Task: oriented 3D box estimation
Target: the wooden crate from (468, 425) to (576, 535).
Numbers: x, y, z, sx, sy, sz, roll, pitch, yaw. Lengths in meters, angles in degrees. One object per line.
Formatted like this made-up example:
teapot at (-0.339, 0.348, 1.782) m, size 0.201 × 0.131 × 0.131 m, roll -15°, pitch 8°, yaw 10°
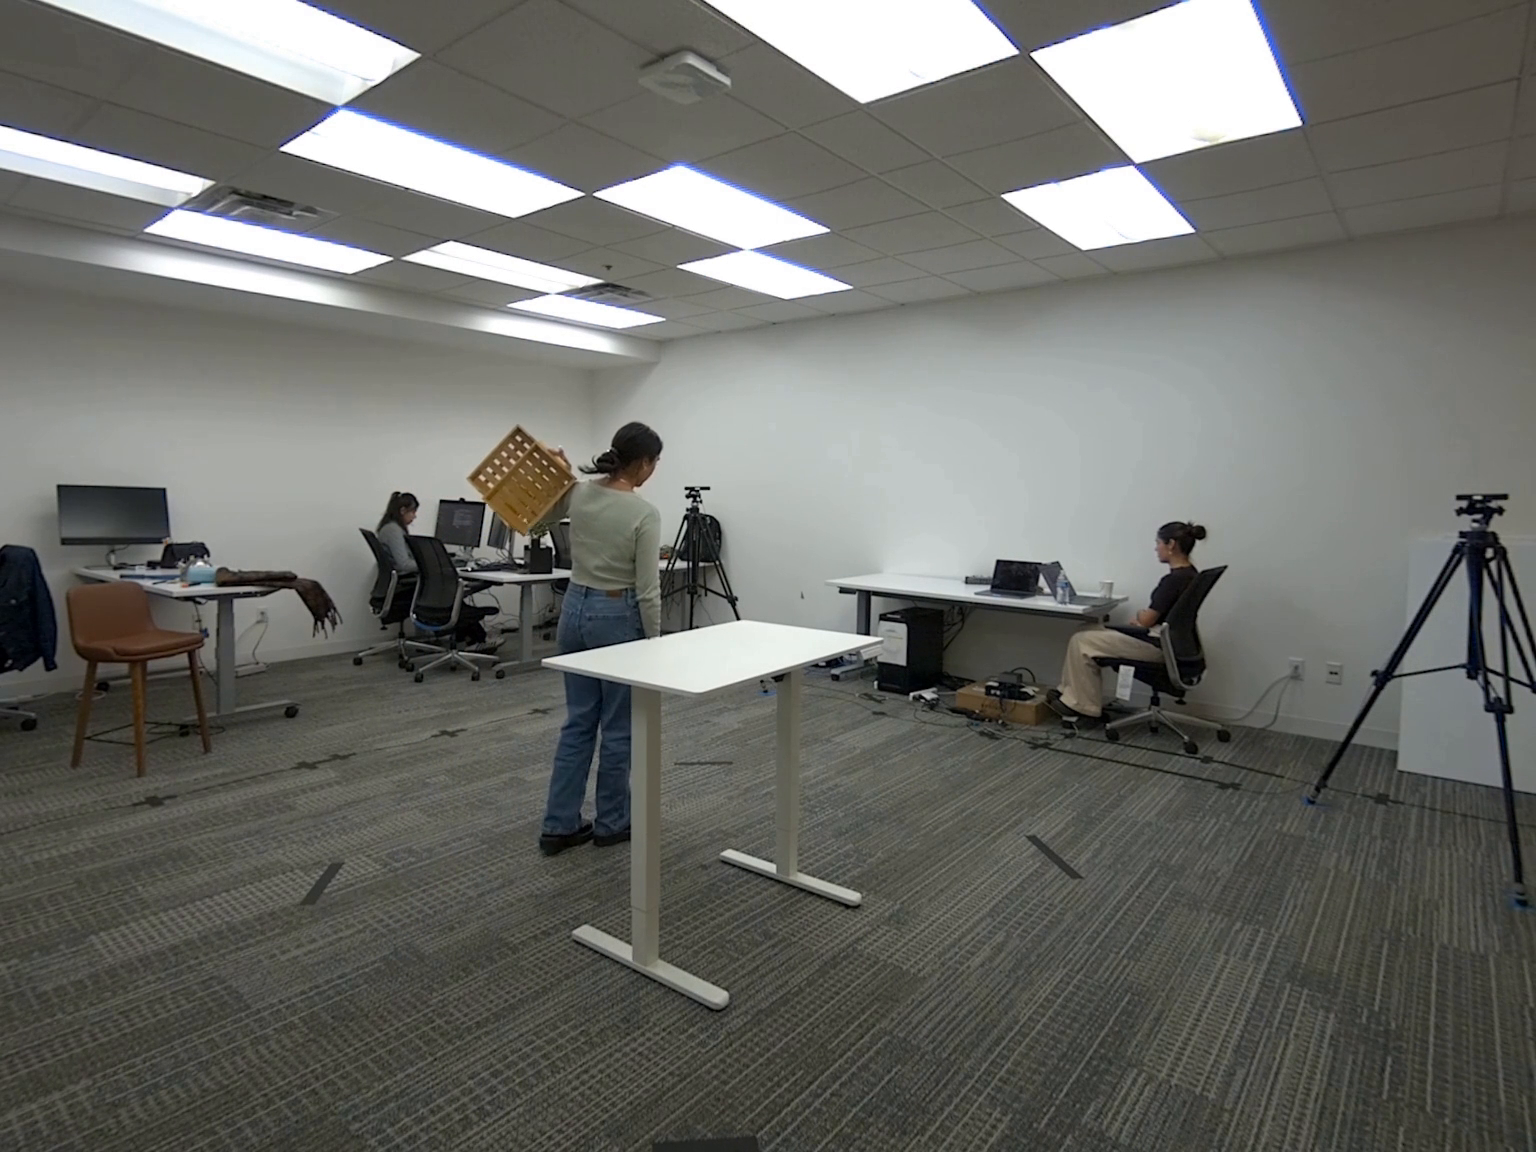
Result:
wooden crate at (-0.988, -0.386, 3.326) m, size 0.295 × 0.324 × 0.280 m, roll 43°, pitch -2°, yaw -18°
